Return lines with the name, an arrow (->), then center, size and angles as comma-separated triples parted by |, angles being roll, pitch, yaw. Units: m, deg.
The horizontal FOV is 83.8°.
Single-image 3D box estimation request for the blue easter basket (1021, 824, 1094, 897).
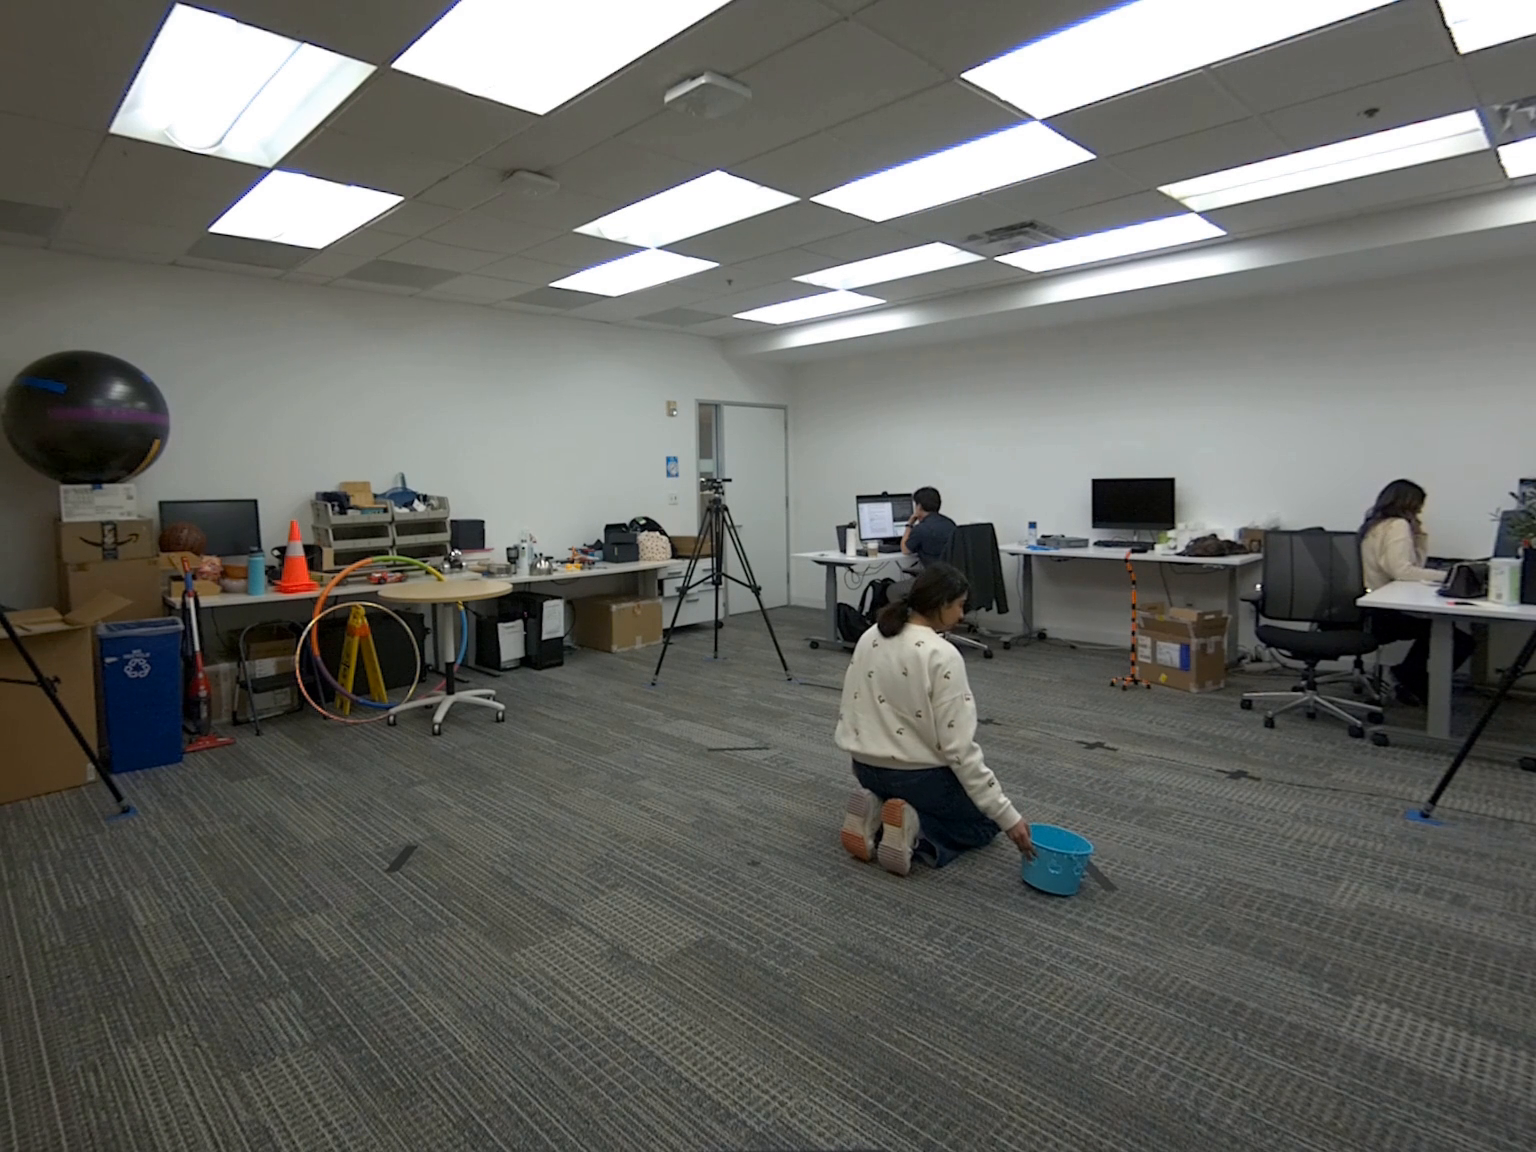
blue easter basket -> 0.974, 0.961, 2.890 | 0.243, 0.155, 0.245 | 7, 5, -2
